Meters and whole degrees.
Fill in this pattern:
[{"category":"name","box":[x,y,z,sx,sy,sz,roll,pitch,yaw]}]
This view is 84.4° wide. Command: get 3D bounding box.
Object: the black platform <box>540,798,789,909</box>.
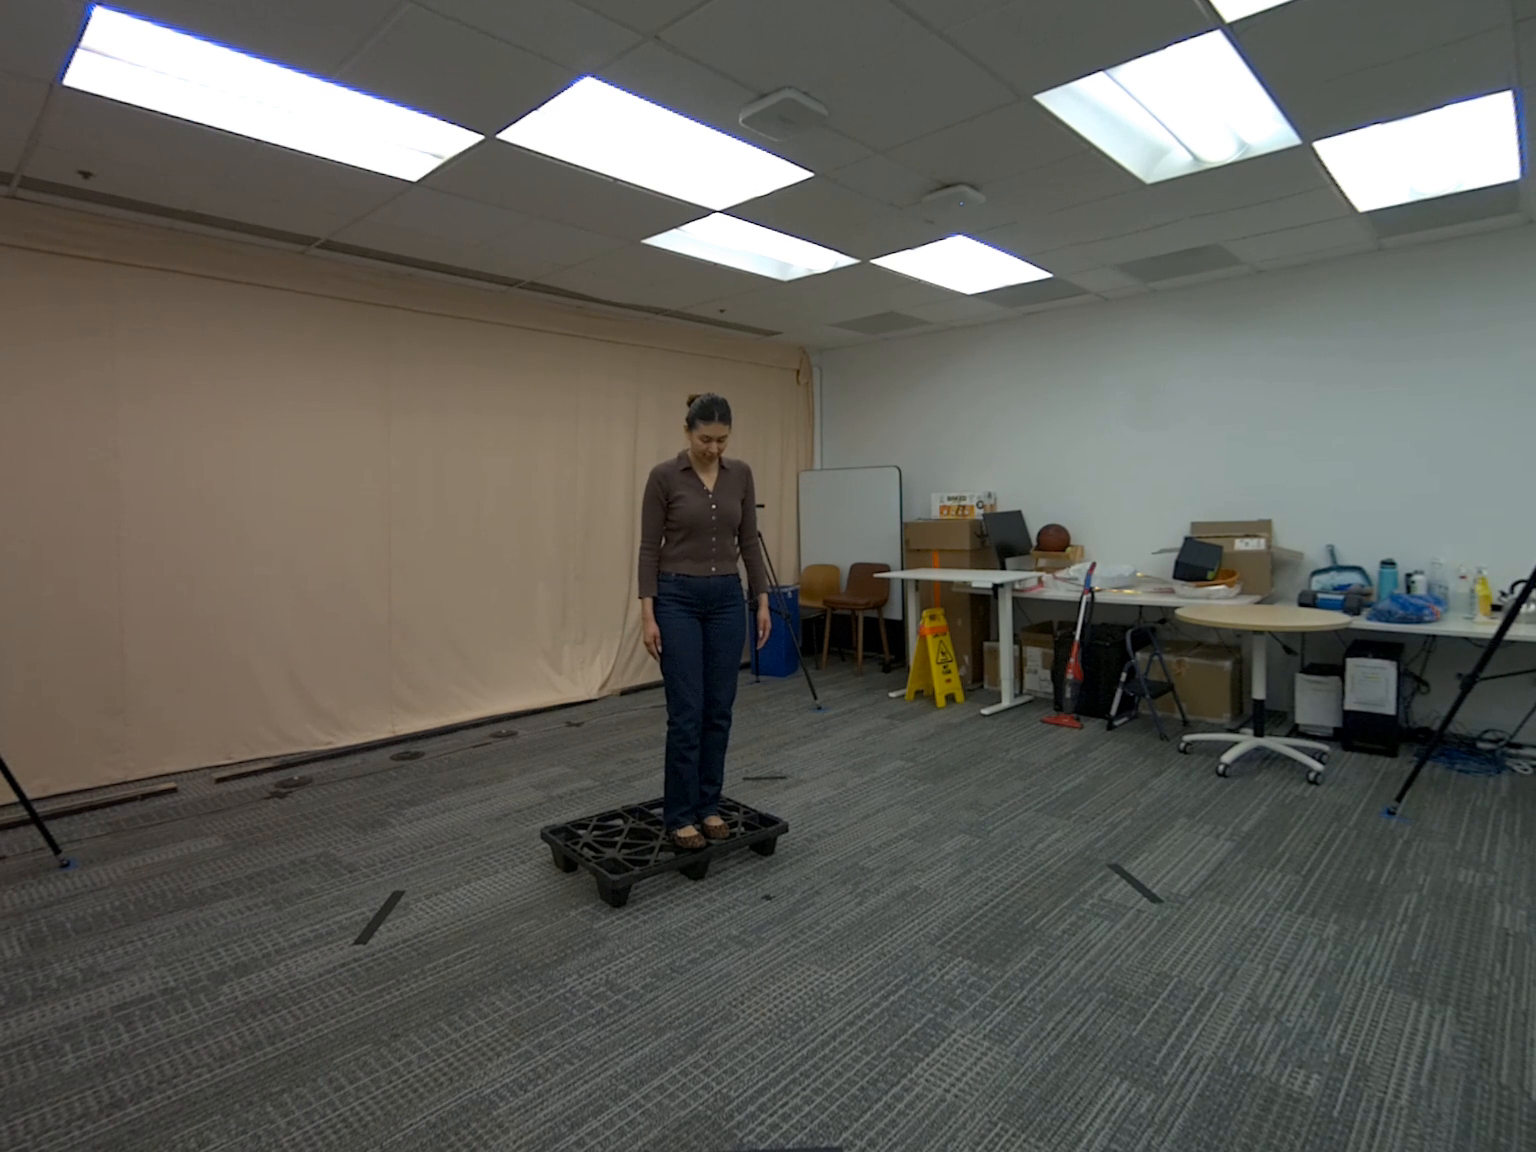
[{"category":"black platform","box":[-0.400,1.054,3.323,0.782,0.143,0.625,-5,7,-38]}]
